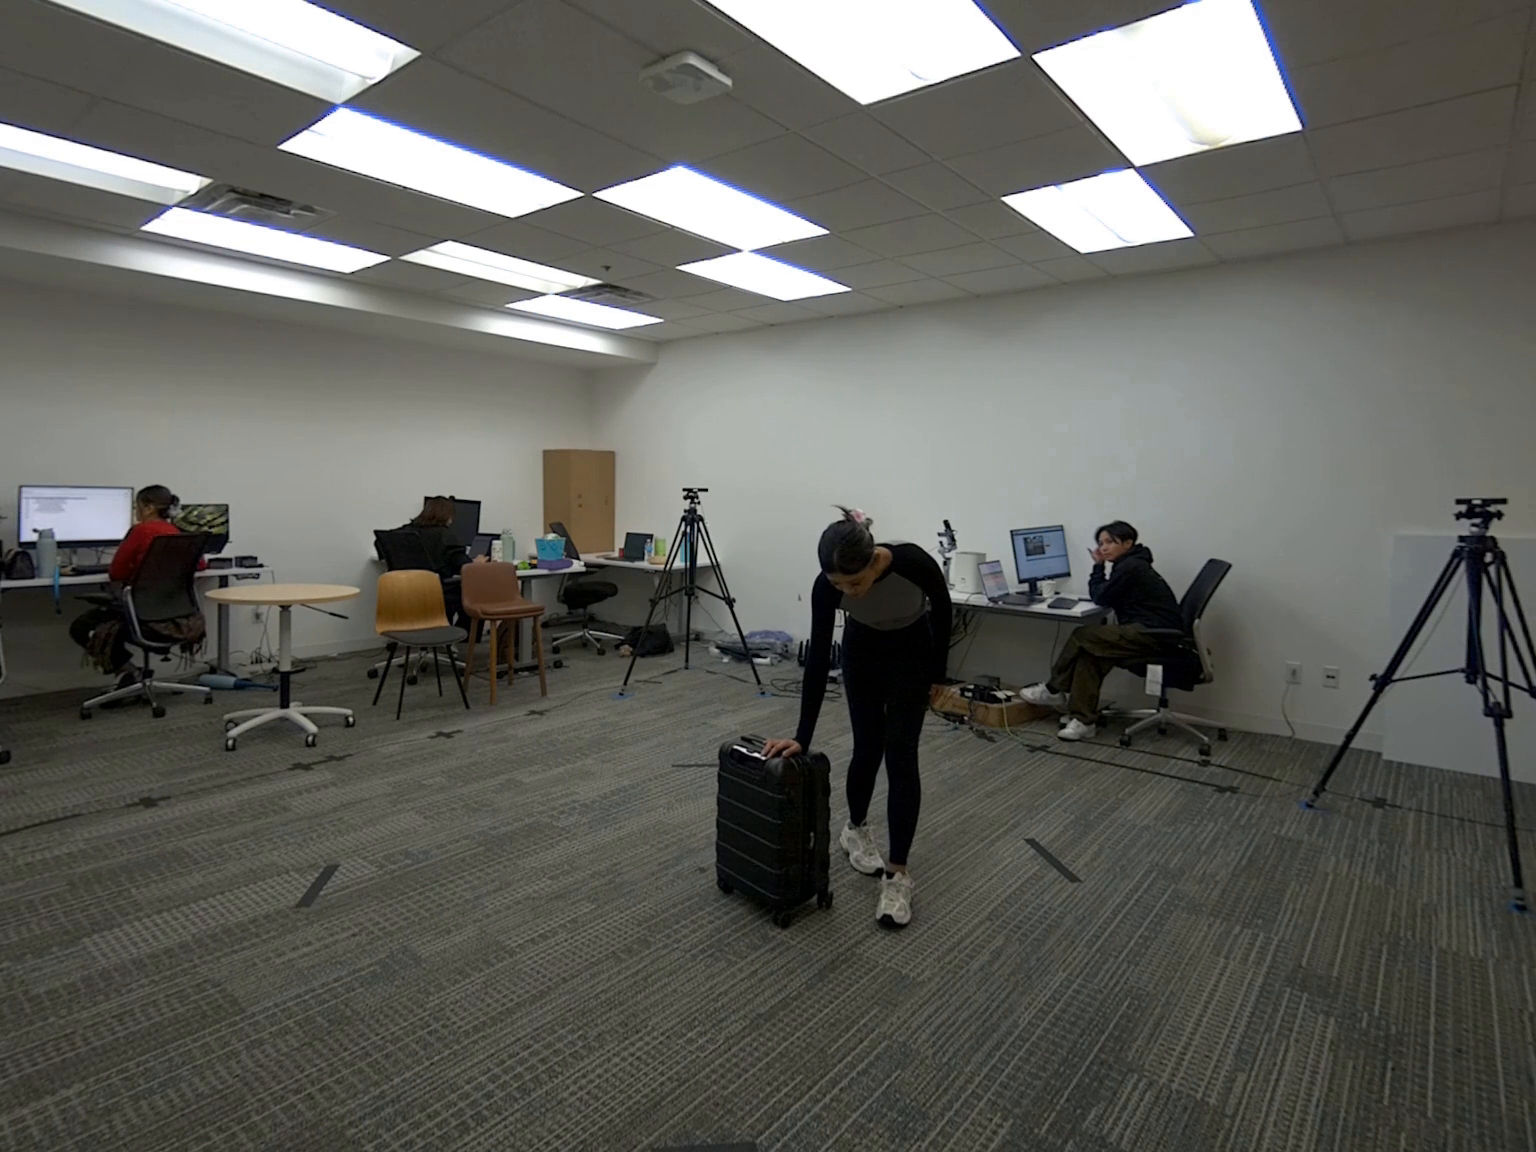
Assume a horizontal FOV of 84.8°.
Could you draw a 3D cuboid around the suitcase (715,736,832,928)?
[{"bbox_3d":[0.006,0.818,2.872,0.241,0.547,0.388,-4,6,-42],"label":"suitcase"}]
